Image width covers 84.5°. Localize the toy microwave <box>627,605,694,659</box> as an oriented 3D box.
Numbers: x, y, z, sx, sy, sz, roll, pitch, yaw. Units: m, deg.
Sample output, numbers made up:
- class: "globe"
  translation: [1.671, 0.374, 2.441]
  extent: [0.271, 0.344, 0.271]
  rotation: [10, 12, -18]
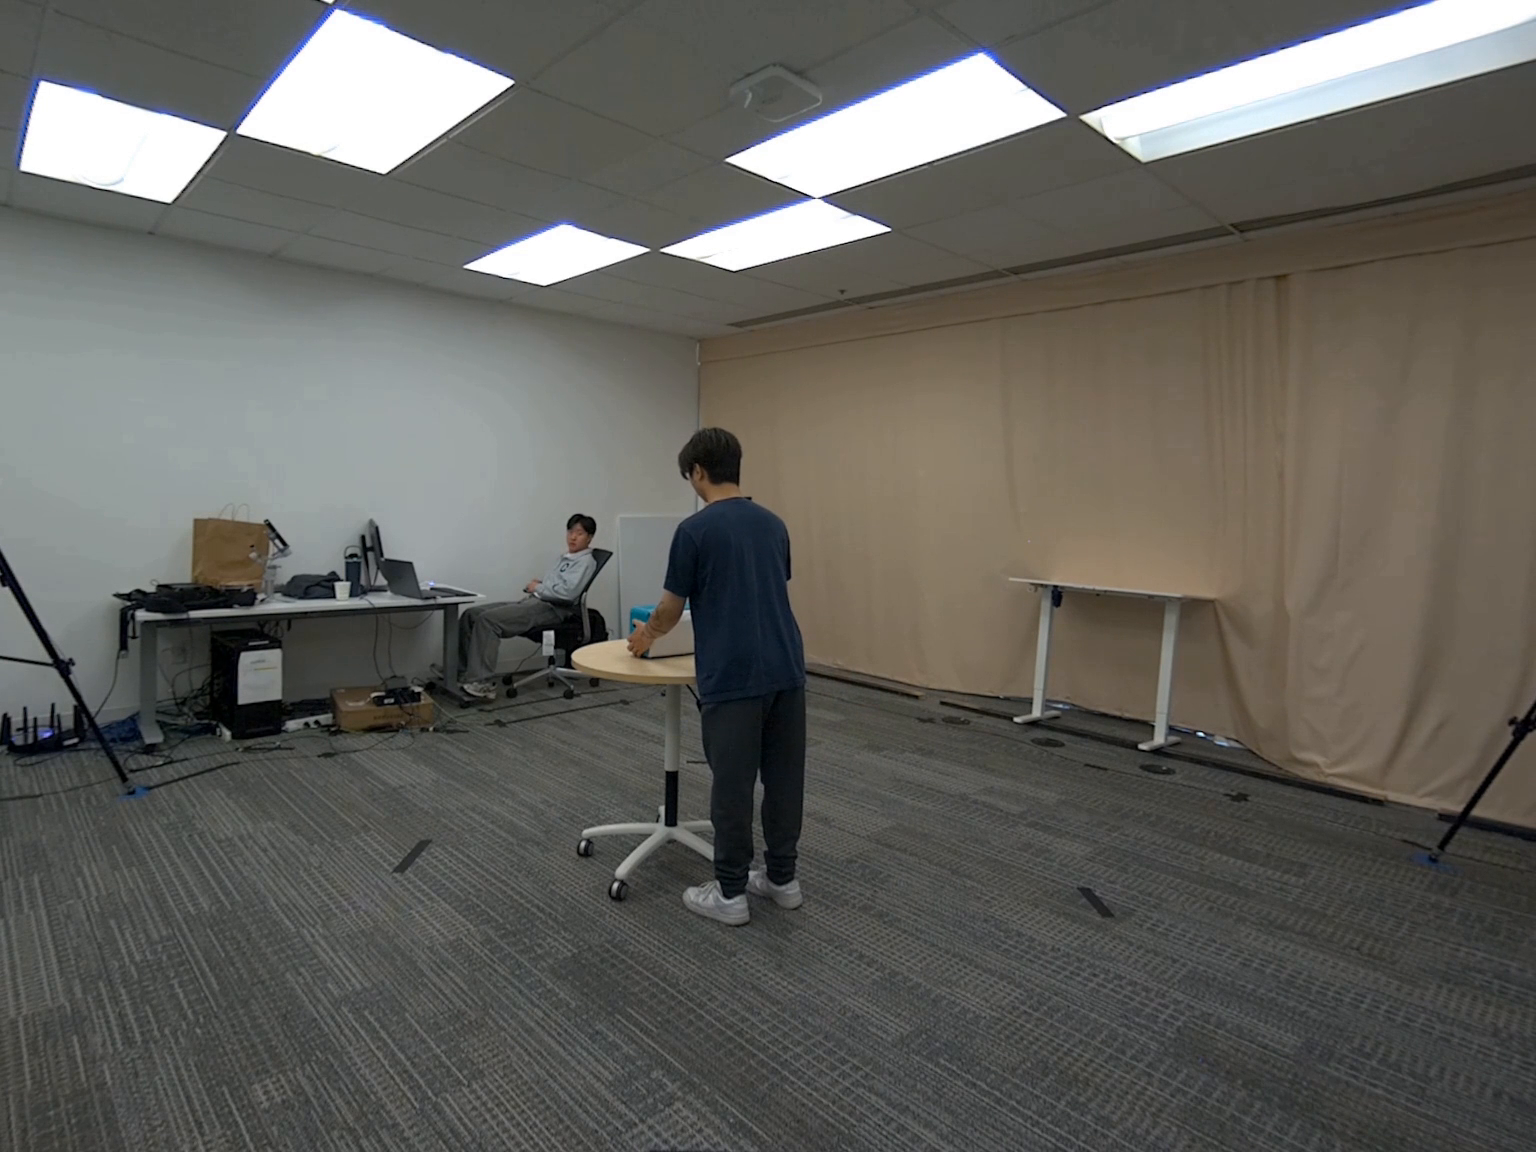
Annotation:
- class: "toy microwave"
  translation: [-0.379, 0.211, 3.186]
  extent: [0.280, 0.184, 0.156]
  rotation: [-2, 5, -36]
